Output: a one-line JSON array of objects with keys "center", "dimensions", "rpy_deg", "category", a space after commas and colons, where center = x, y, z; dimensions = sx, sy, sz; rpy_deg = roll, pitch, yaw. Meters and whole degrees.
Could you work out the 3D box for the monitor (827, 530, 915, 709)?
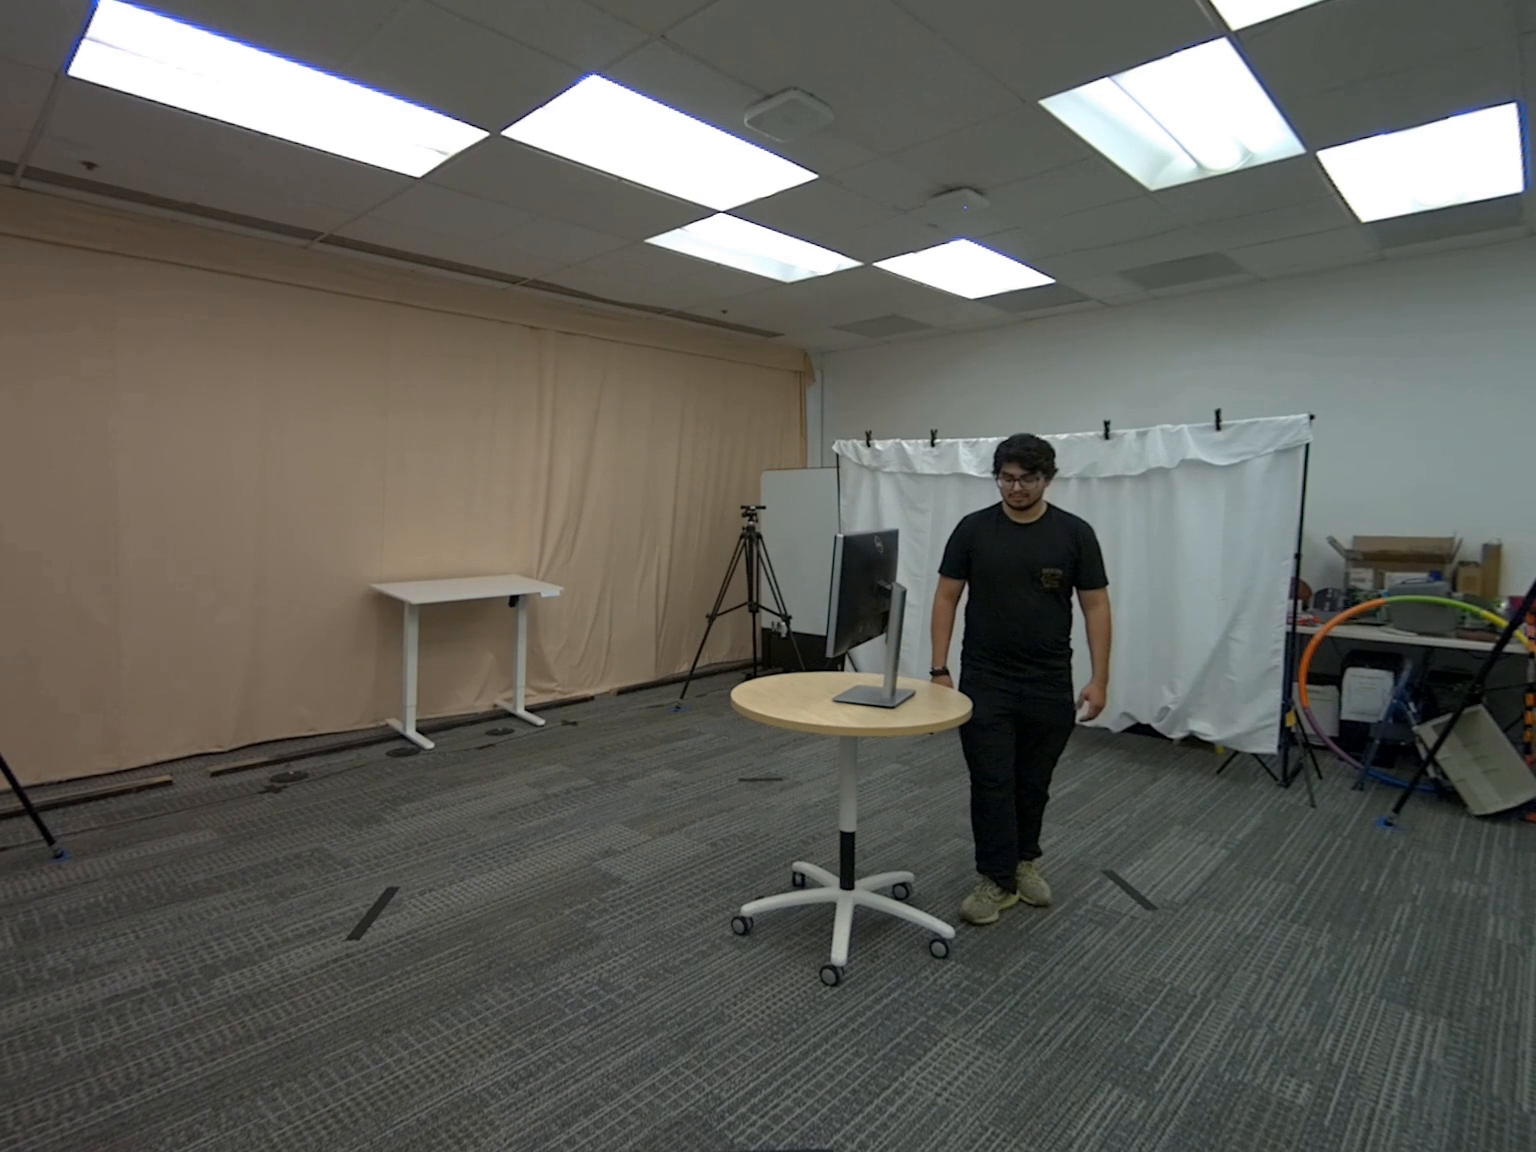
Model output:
[{"center": [0.374, 0.133, 2.666], "dimensions": [0.216, 0.552, 0.551], "rpy_deg": [4, 6, 27], "category": "monitor"}]
